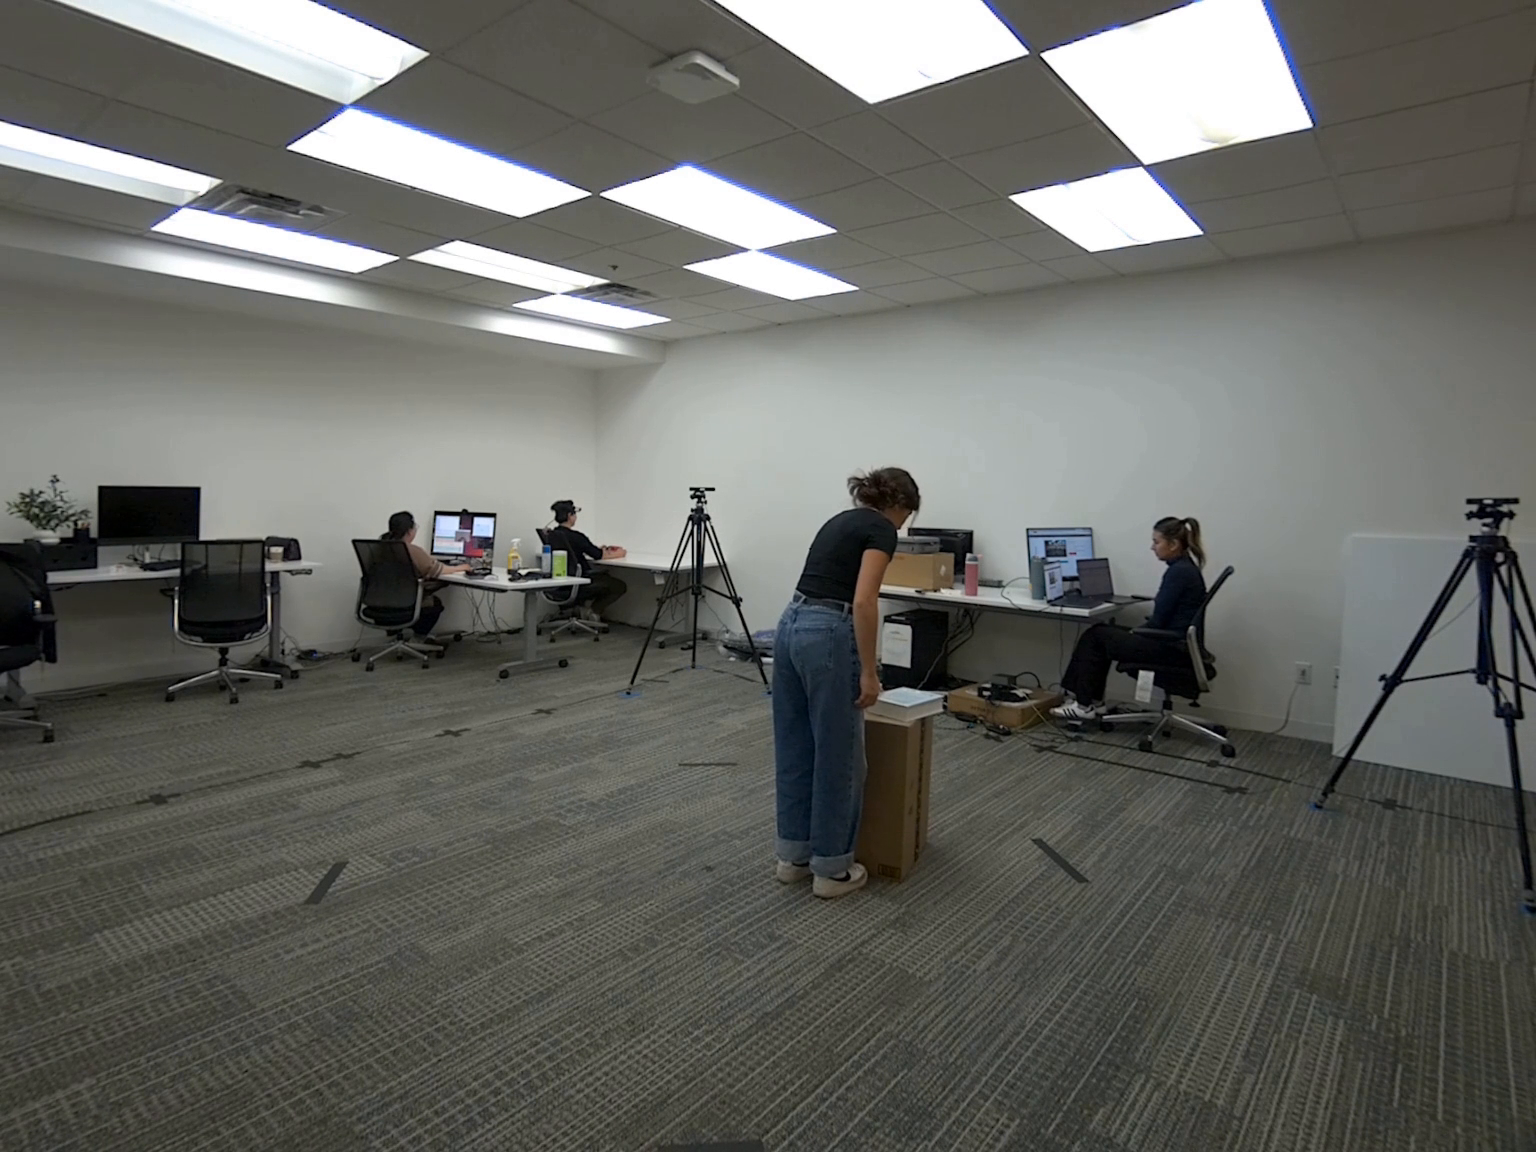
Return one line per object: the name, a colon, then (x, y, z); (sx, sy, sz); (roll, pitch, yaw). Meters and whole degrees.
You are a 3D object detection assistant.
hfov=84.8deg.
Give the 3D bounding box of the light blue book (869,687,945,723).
light blue book: (0.509, 0.477, 3.218); (0.198, 0.059, 0.253); (8, 8, 41)
